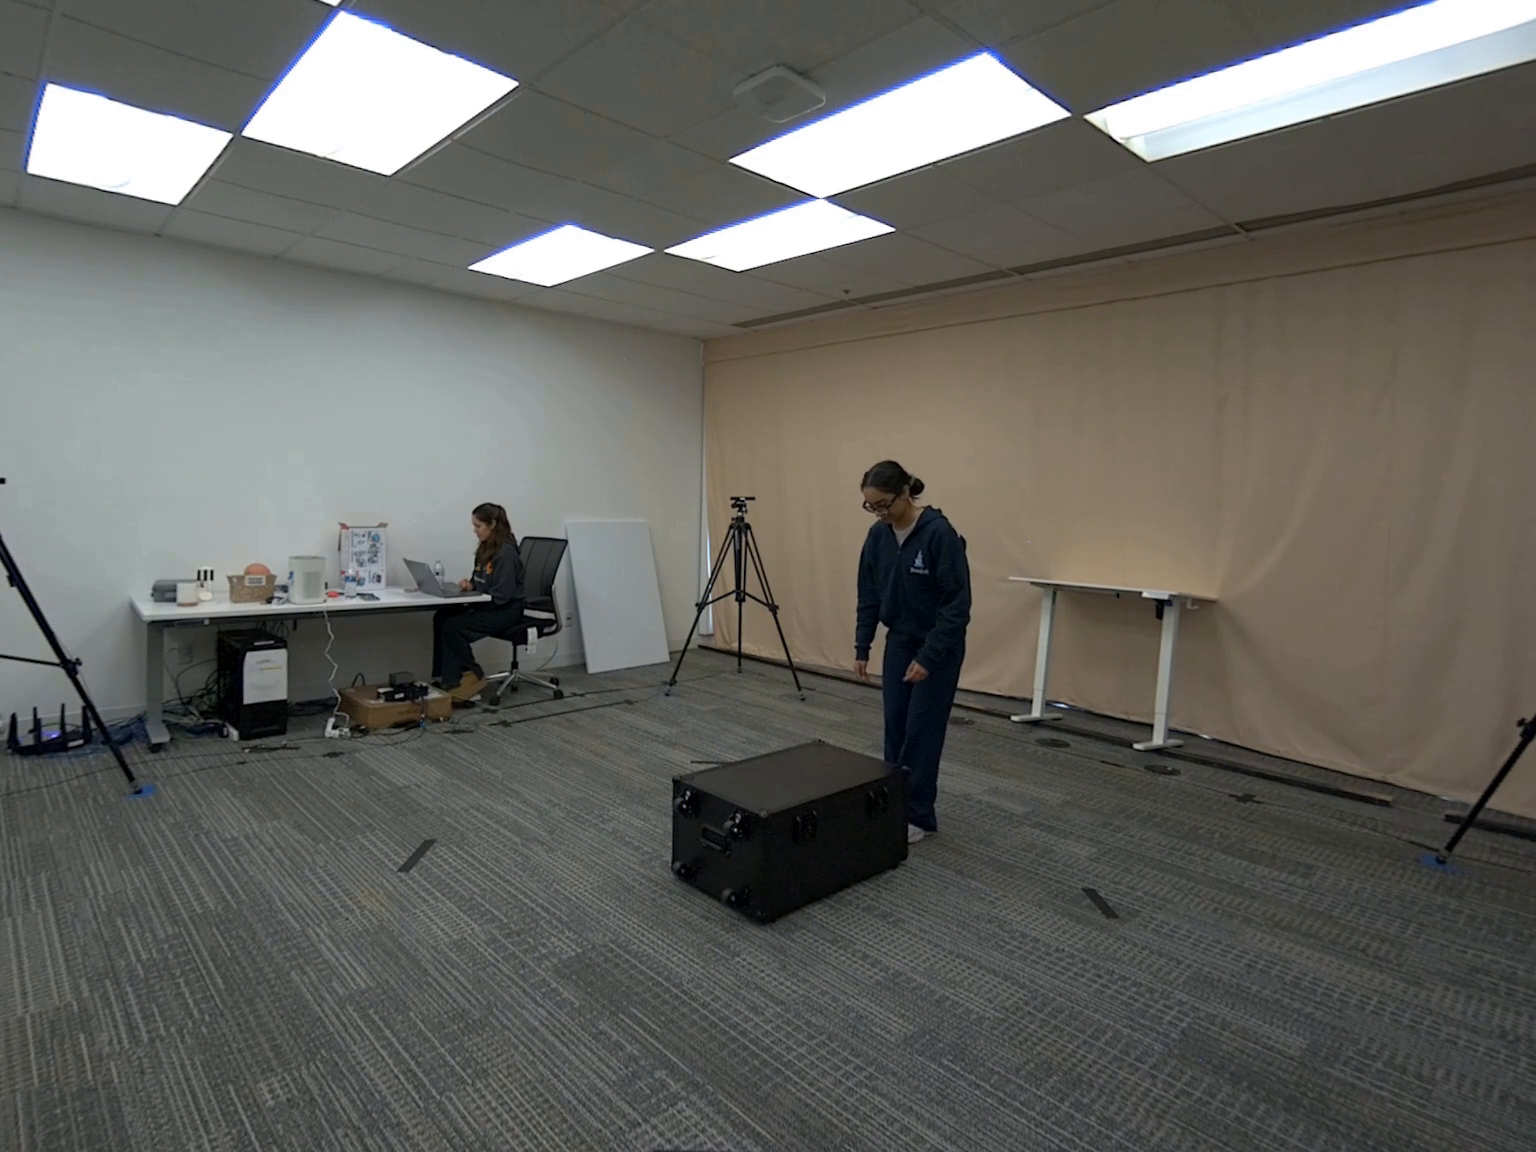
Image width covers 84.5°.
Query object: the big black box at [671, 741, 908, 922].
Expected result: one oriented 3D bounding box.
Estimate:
[{"bbox_3d":[0.065,0.920,3.125,0.841,0.395,0.534,-2,5,-44],"label":"big black box"}]
